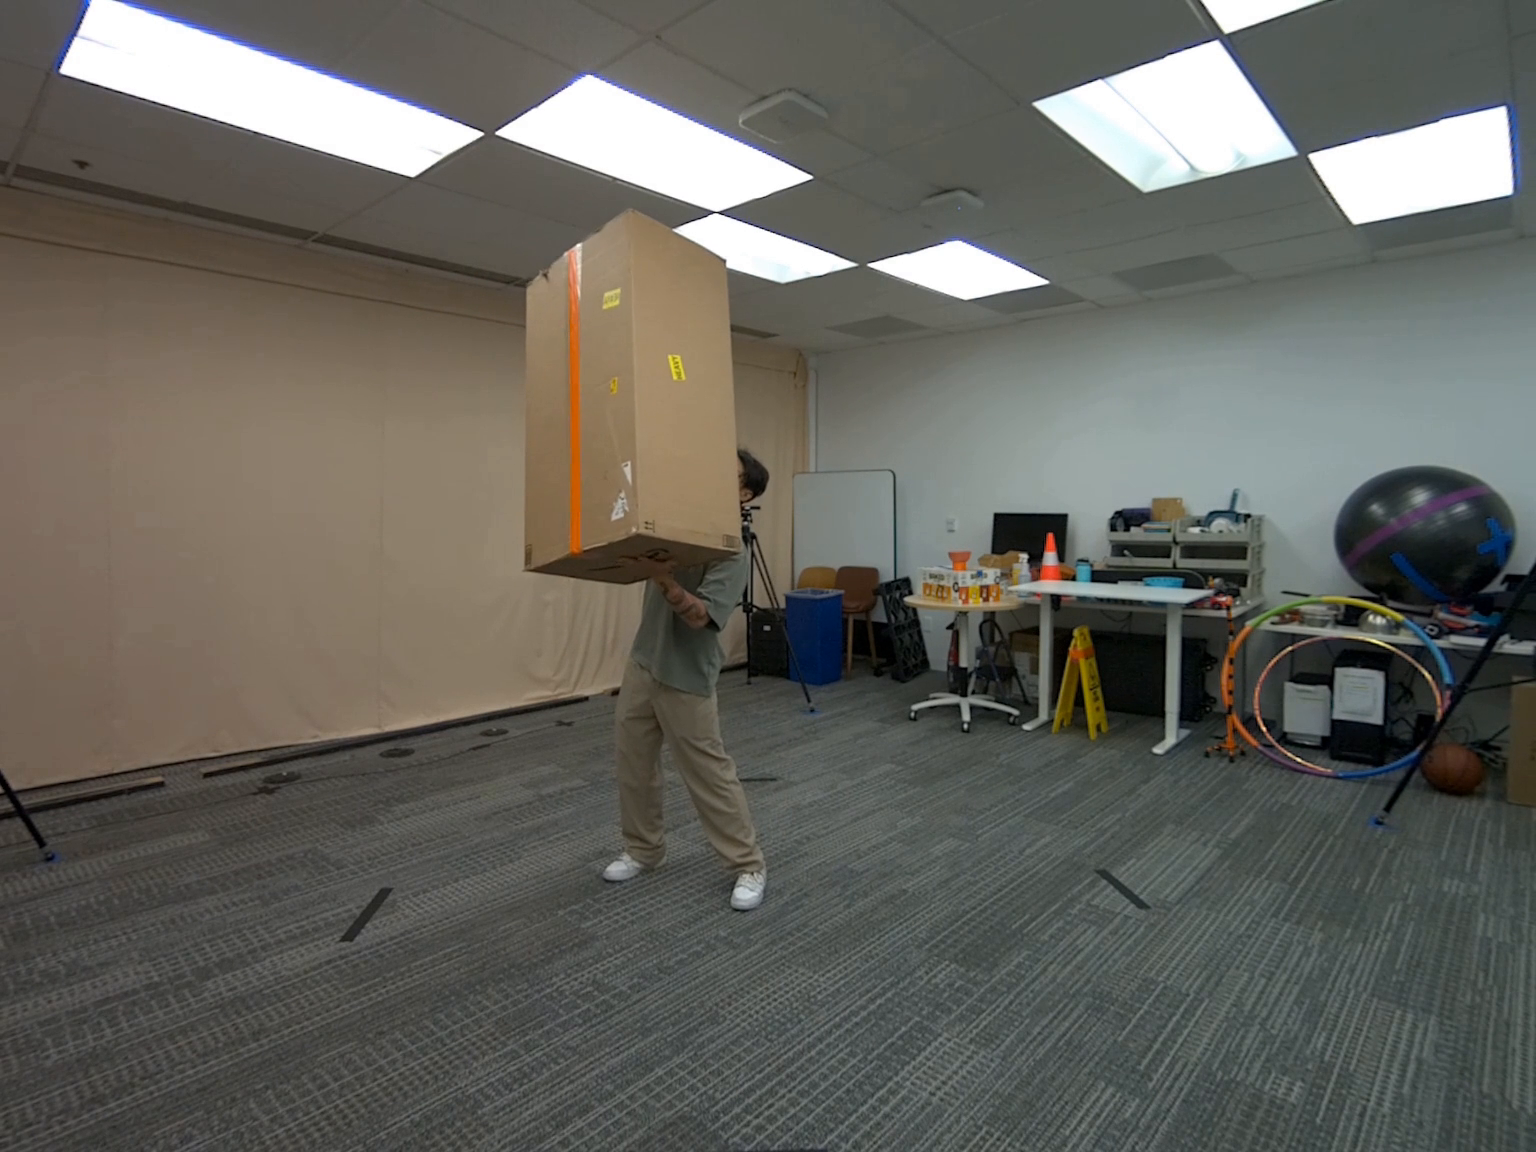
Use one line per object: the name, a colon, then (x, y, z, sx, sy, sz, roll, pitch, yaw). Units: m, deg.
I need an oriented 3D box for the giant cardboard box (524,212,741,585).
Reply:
giant cardboard box: (-0.461, -0.530, 2.757, 0.592, 1.035, 0.411, -15, -18, 41)
